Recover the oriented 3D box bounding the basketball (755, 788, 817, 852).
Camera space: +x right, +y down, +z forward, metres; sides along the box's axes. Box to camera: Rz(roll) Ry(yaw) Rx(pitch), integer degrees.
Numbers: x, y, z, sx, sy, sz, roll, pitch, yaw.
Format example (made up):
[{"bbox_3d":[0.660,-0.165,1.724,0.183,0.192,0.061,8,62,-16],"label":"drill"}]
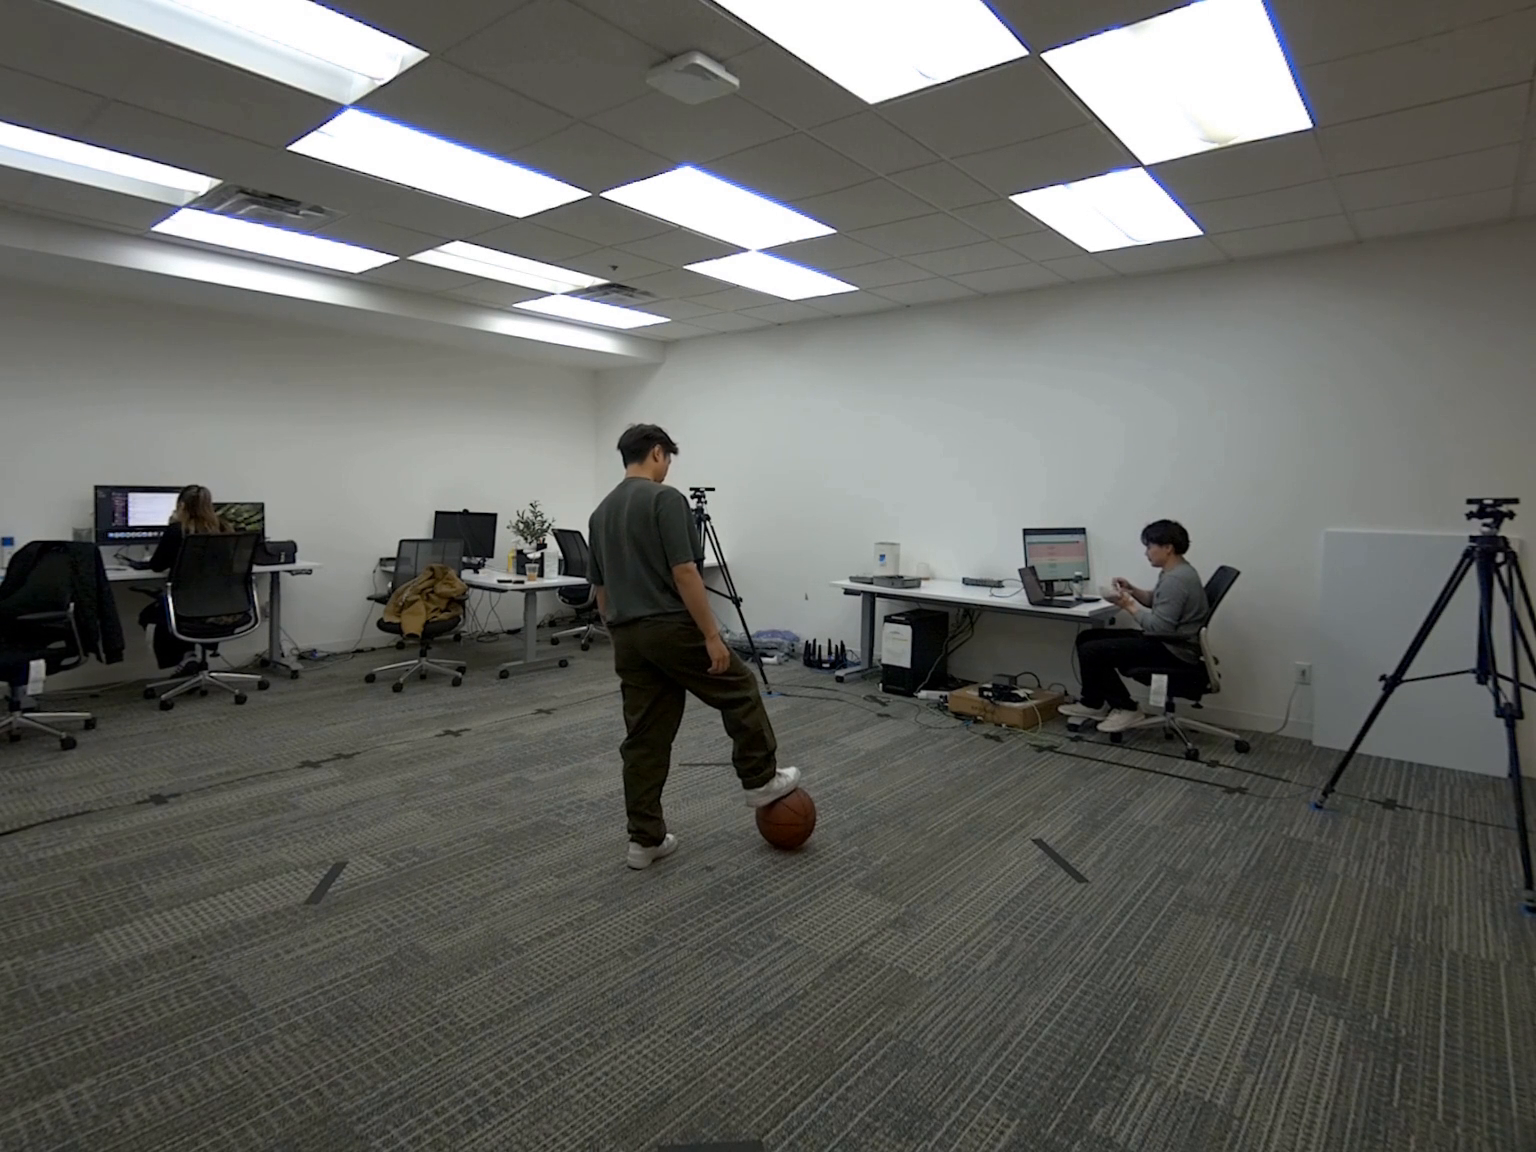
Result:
[{"bbox_3d":[0.062,0.933,3.321,0.235,0.235,0.237,1,4,-2],"label":"basketball"}]
